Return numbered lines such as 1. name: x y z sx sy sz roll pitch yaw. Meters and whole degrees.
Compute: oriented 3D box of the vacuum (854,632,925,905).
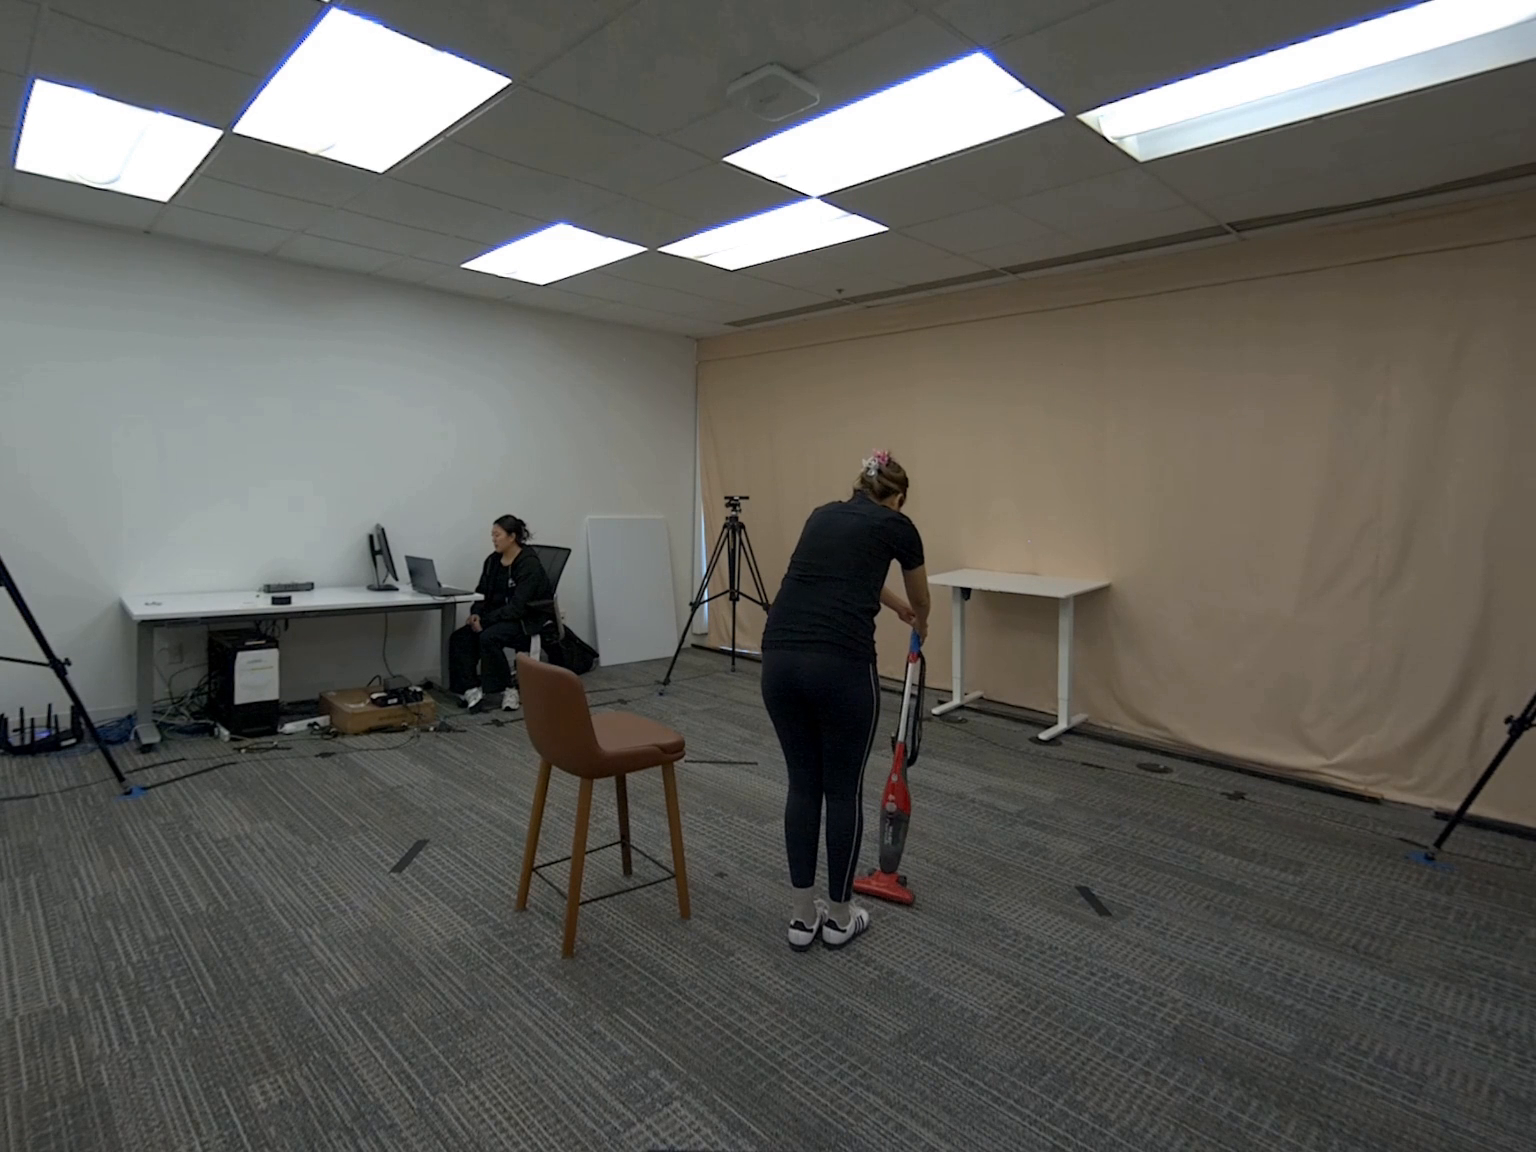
1. vacuum: 0.509 0.629 3.149 0.258 1.059 0.139 0 -21 33
